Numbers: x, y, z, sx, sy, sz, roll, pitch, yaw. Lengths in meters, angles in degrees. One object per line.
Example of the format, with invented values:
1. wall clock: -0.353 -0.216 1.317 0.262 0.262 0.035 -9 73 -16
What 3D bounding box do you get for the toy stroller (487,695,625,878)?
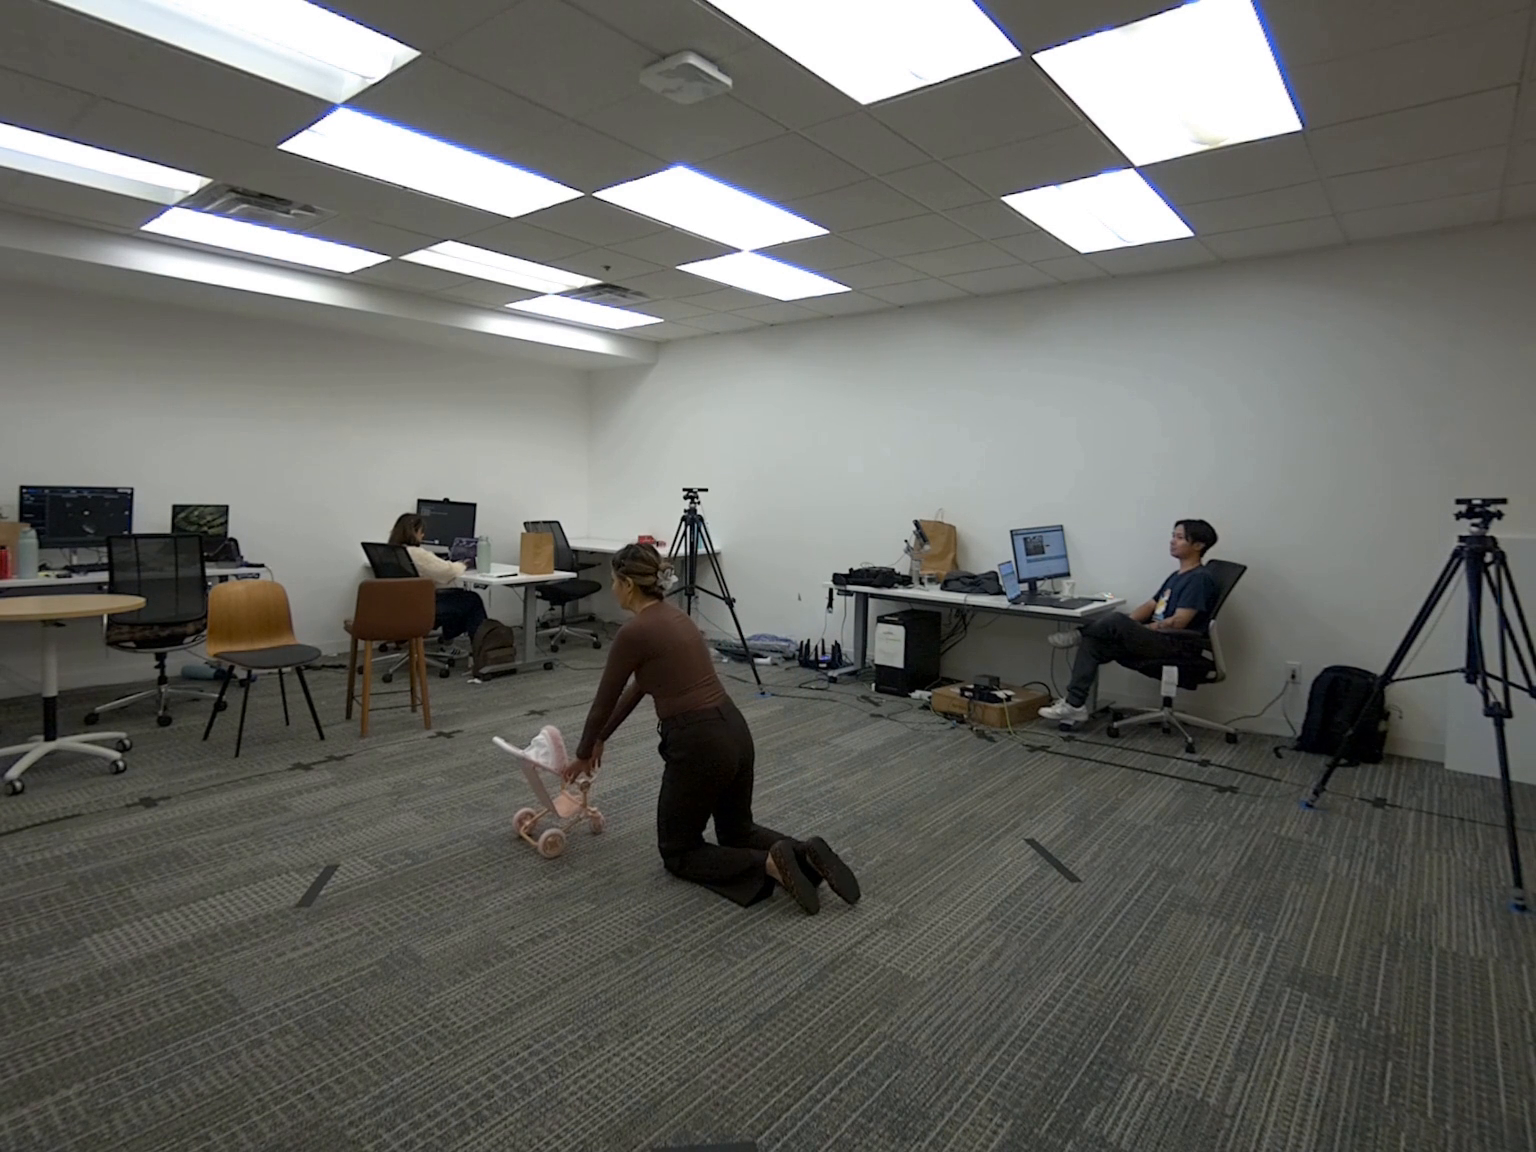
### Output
1. toy stroller: -0.833 0.808 3.305 0.335 0.528 0.291 -18 14 -32
